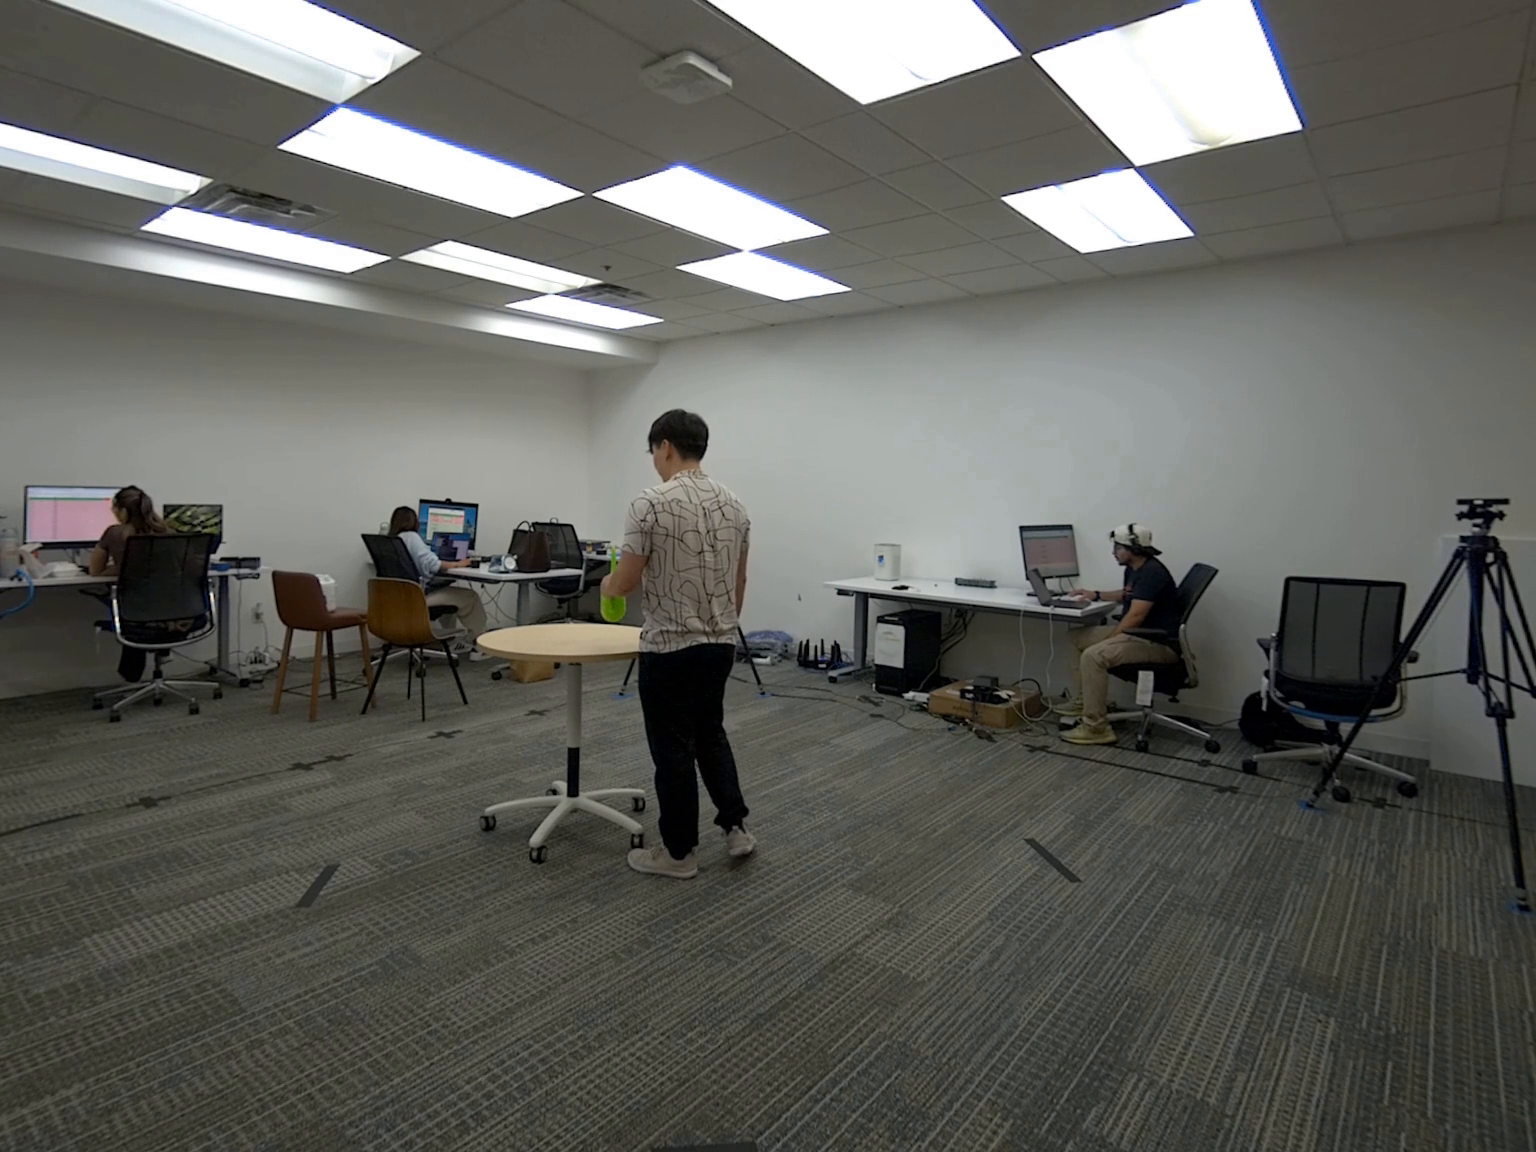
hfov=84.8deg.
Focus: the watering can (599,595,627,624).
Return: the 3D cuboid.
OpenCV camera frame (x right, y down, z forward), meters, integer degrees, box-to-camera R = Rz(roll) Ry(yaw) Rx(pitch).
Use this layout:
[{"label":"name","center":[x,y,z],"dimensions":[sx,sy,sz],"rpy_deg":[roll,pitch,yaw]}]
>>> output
[{"label":"watering can","center":[-0.589,0.041,3.283],"dimensions":[0.098,0.173,0.284],"rpy_deg":[11,43,-1]}]
